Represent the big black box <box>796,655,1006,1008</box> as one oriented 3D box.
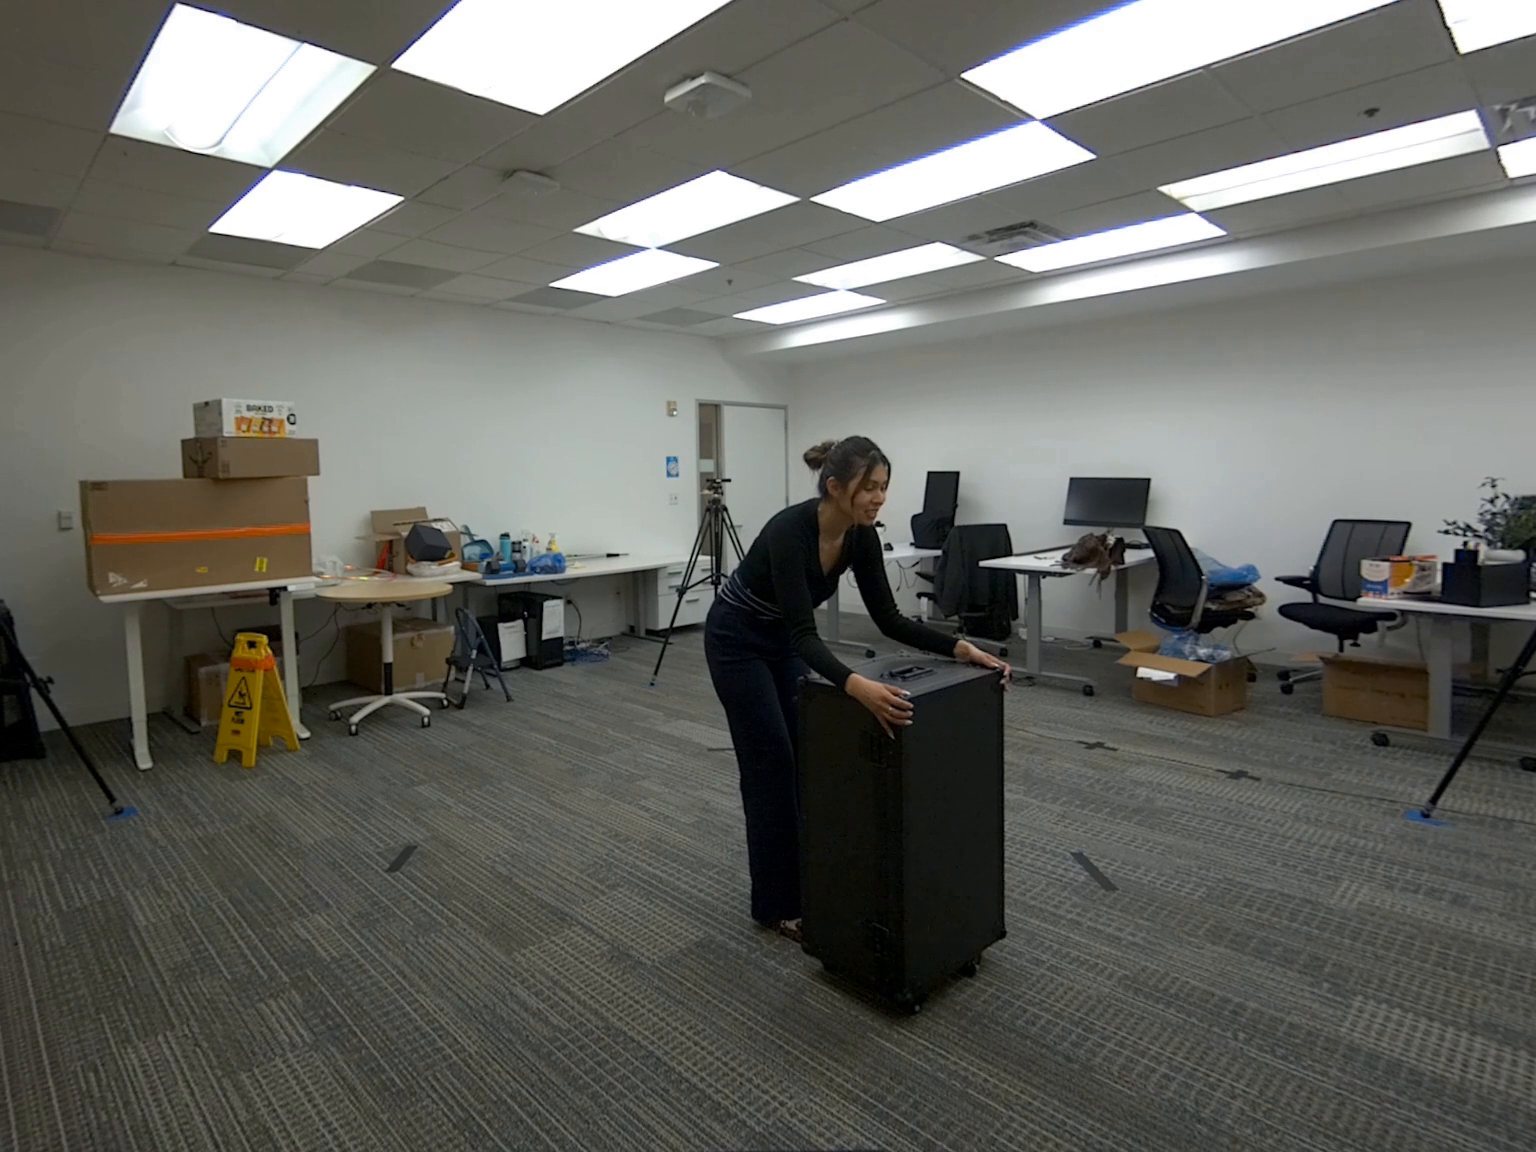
[{"bbox_3d":[0.377,0.694,2.404,0.507,0.859,0.408,-5,4,-43],"label":"big black box"}]
